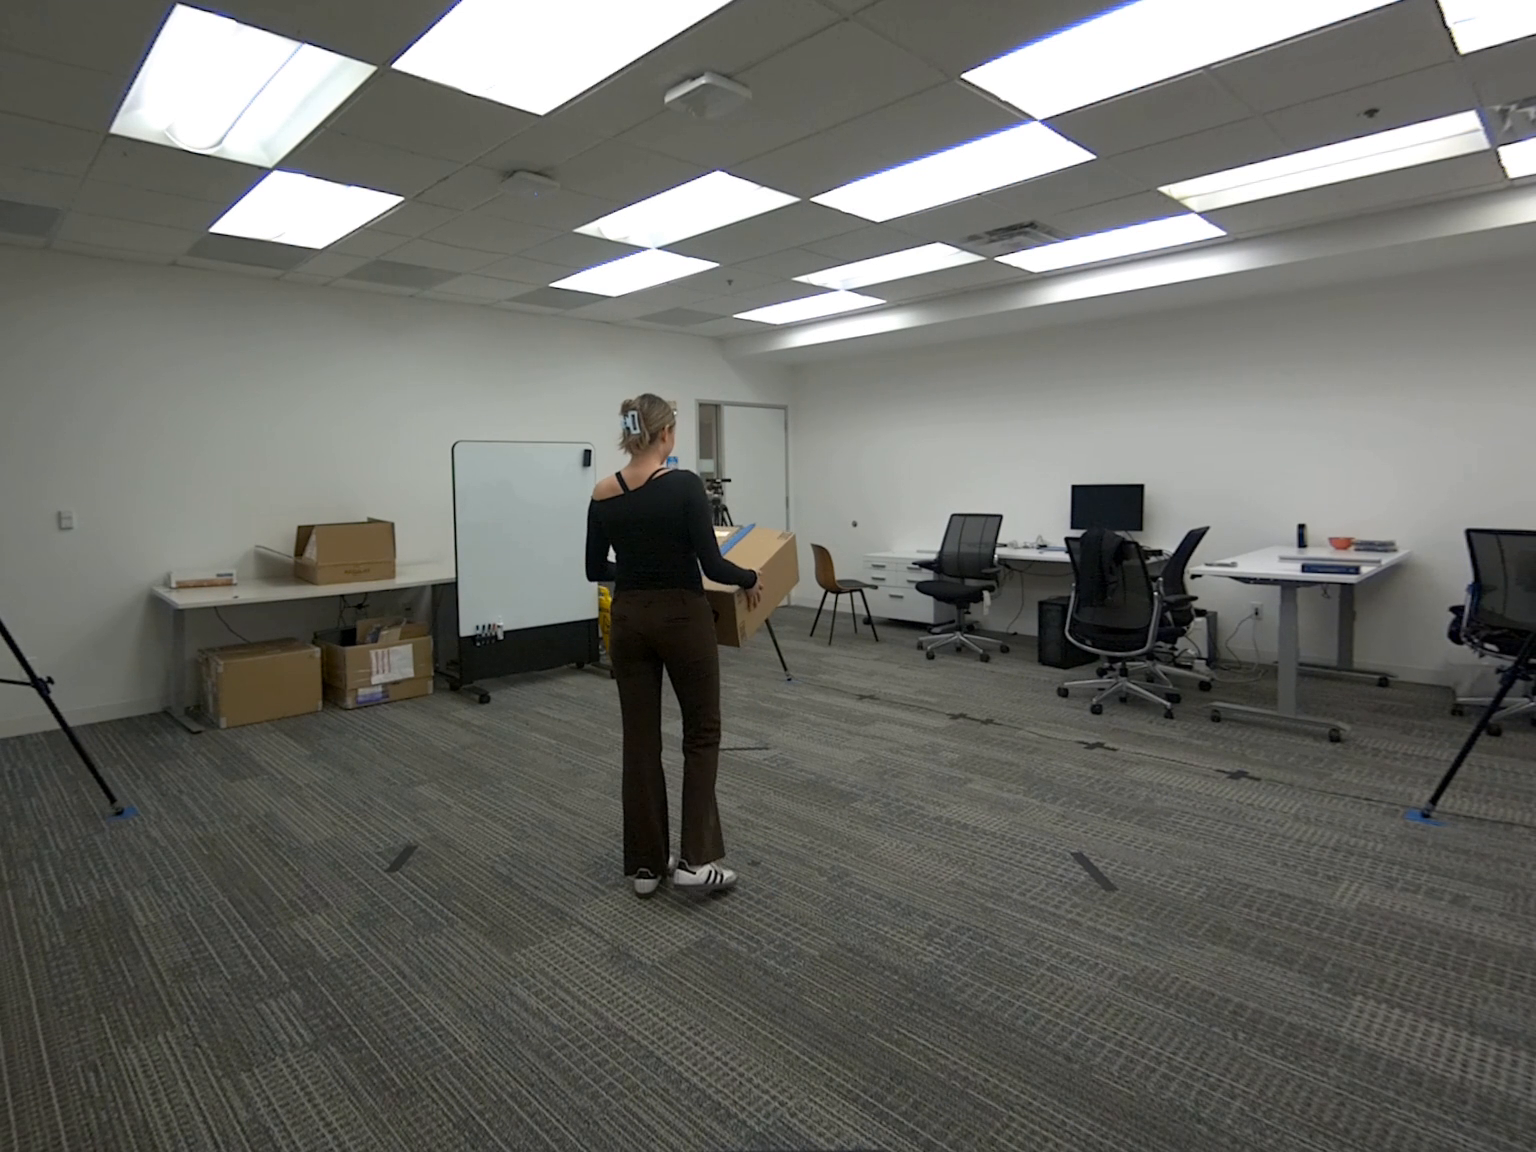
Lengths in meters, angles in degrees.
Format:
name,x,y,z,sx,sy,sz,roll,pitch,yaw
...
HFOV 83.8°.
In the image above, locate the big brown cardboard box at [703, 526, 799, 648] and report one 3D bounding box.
name,x,y,z,sx,sy,sz,roll,pitch,yaw
big brown cardboard box,-0.173,0.017,3.277,0.428,0.228,0.587,4,26,25
